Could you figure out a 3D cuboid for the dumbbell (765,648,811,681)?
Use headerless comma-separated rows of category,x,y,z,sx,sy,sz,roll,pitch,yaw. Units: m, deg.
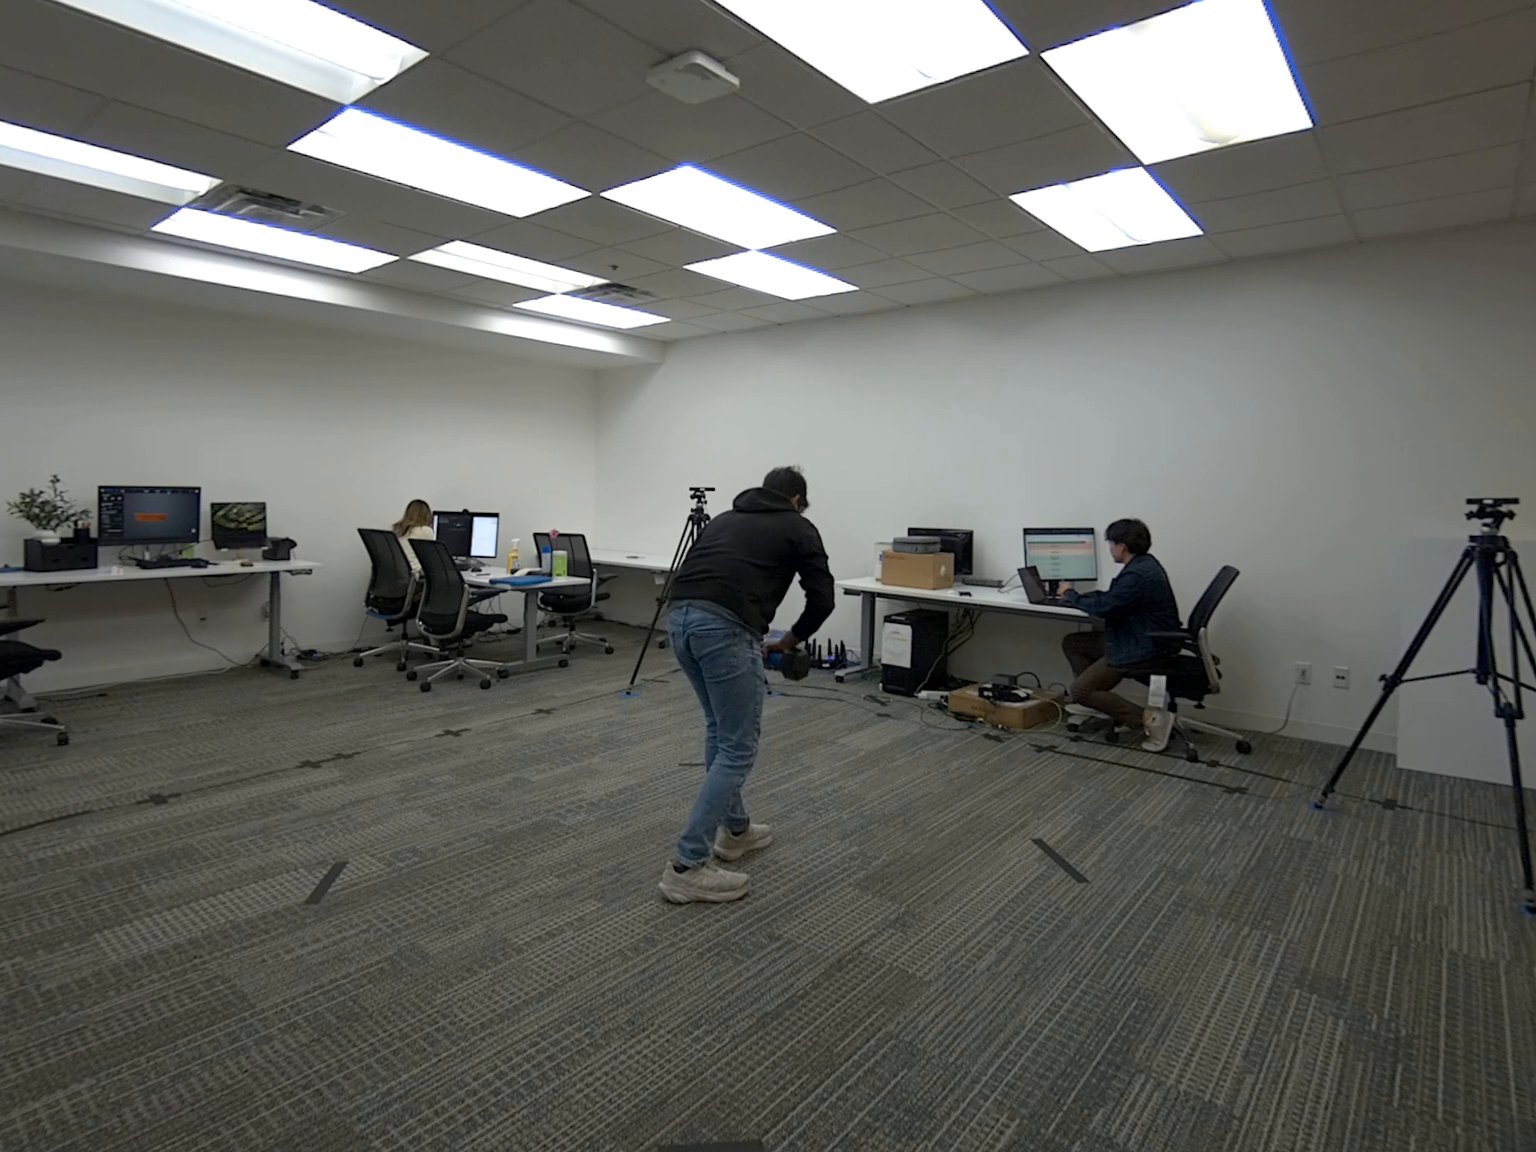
dumbbell,0.011,0.327,3.270,0.303,0.108,0.120,5,11,41
